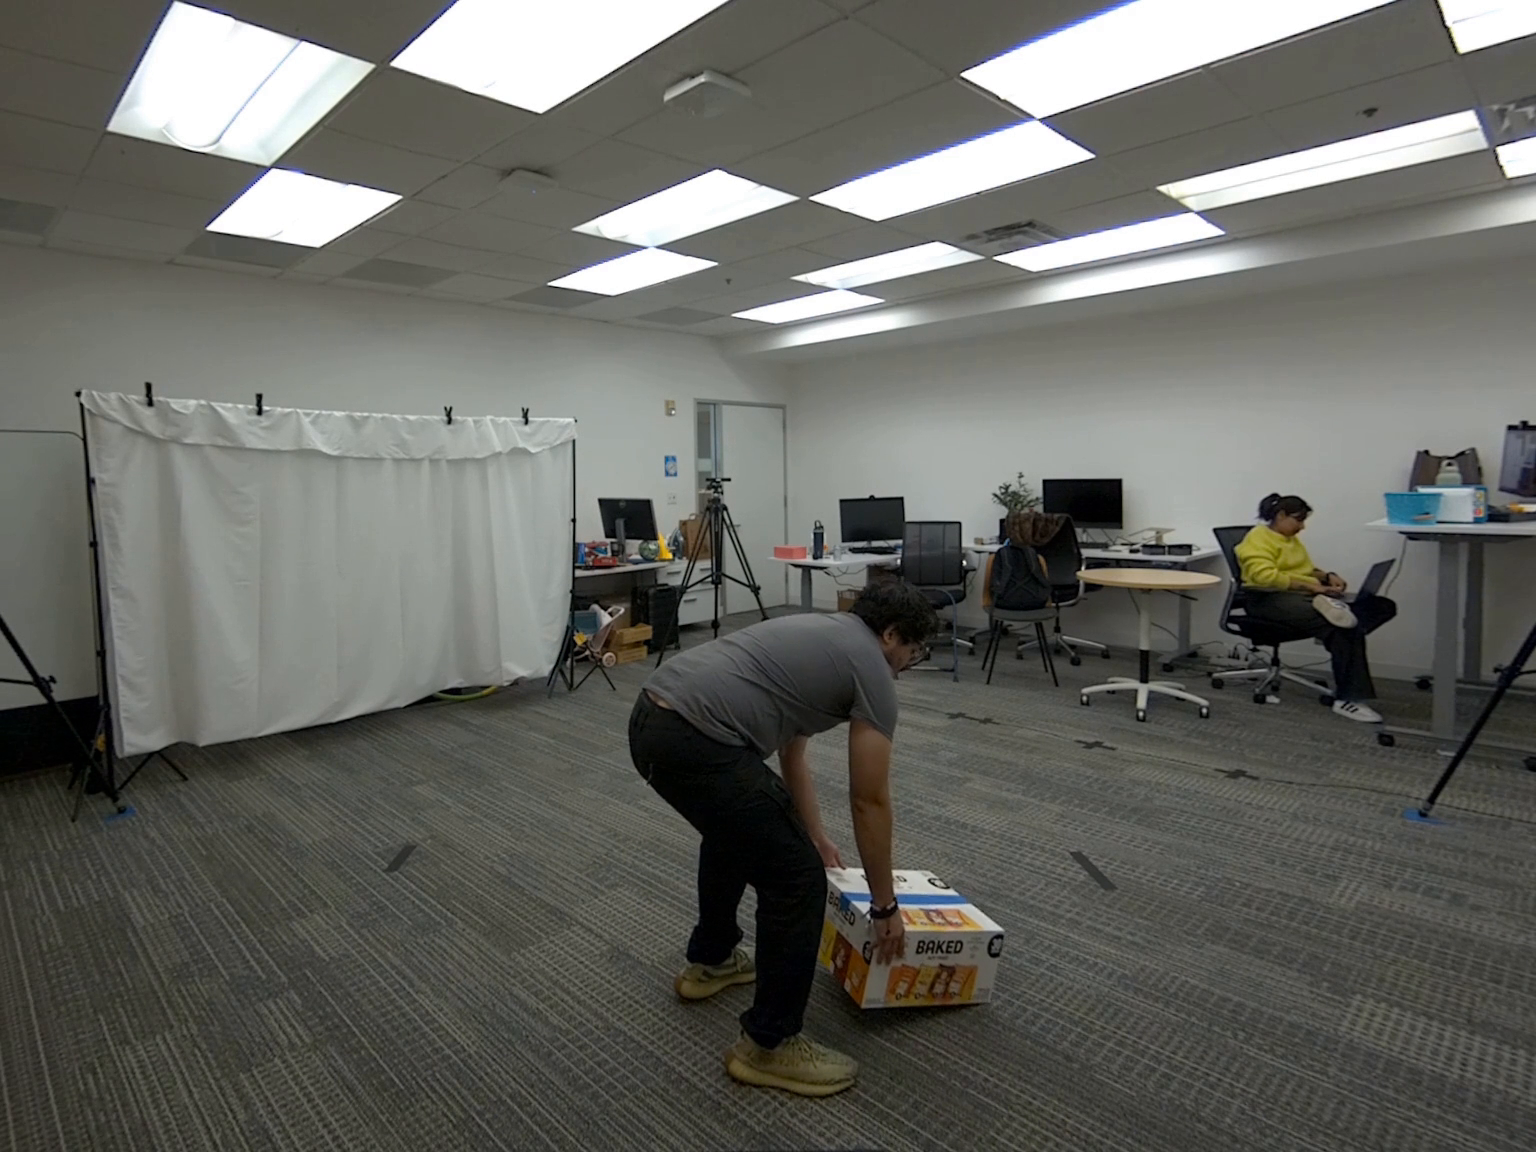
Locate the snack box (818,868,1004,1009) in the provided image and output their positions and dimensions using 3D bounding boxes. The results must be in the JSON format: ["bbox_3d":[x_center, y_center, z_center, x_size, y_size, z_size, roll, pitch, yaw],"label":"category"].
[{"bbox_3d":[0.368,0.982,2.334,0.395,0.205,0.349,10,4,-24],"label":"snack box"}]
